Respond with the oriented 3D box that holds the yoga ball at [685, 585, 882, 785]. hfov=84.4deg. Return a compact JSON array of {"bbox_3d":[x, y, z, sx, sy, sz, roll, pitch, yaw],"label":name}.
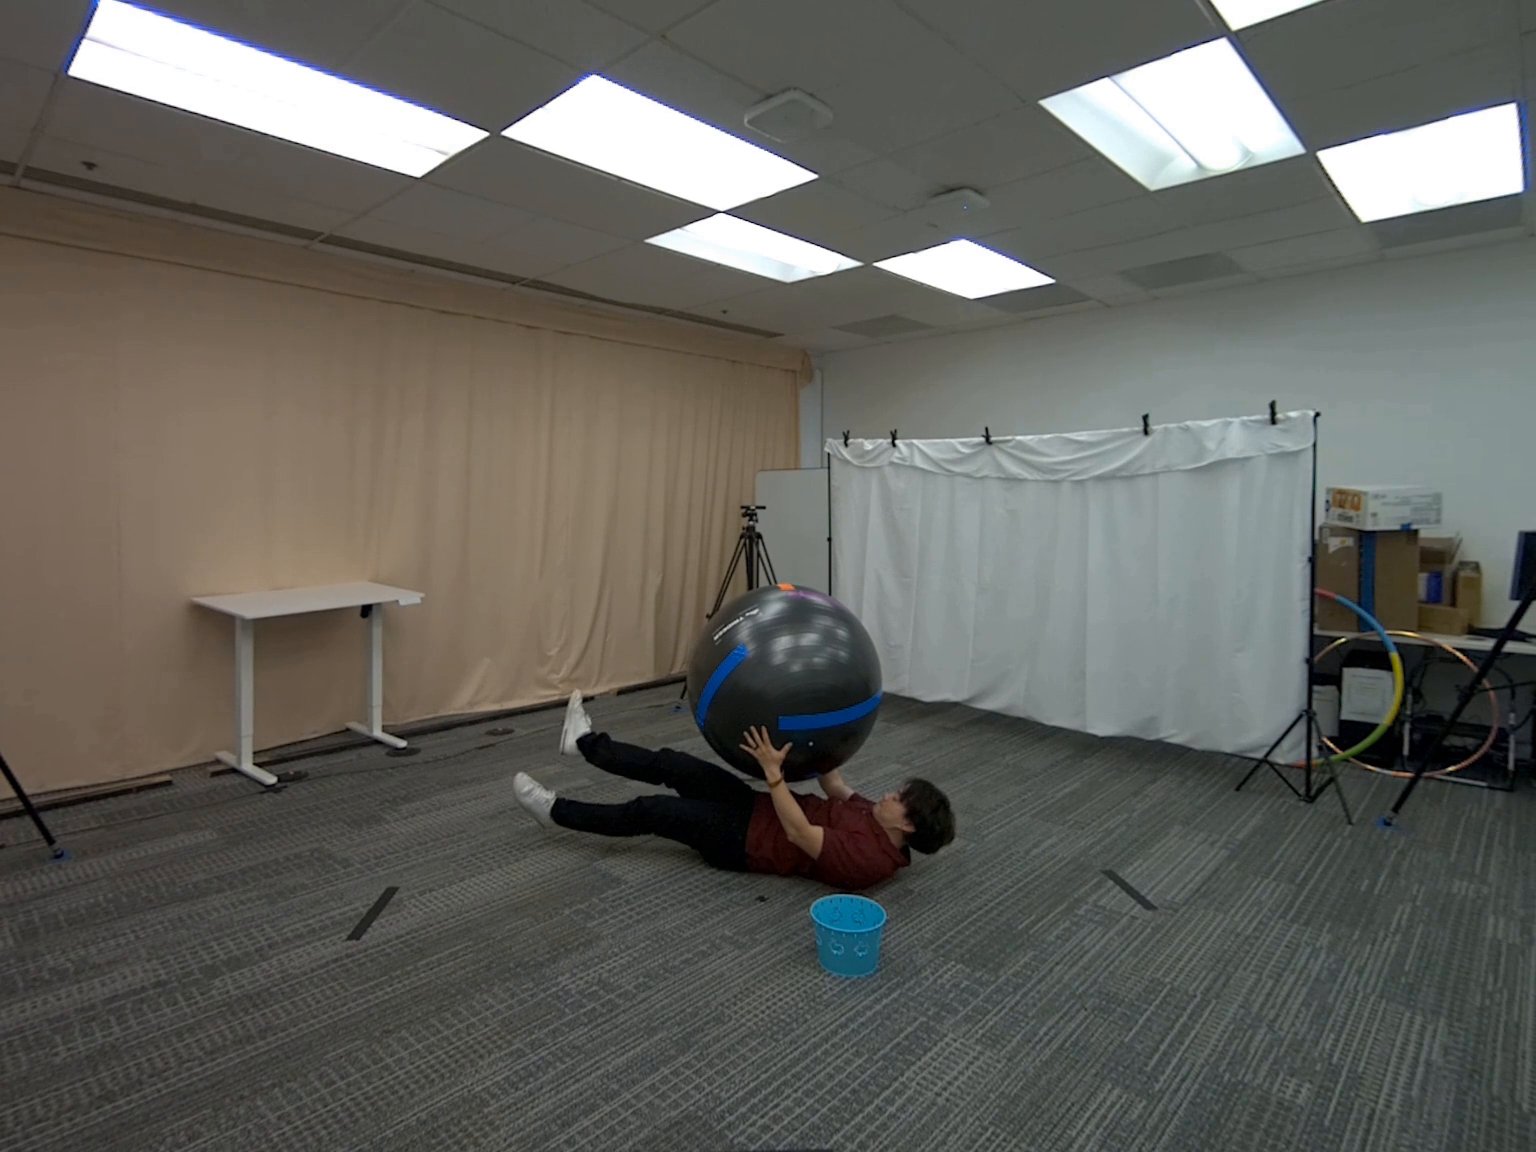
[{"bbox_3d":[0.062,0.414,3.294,0.757,0.756,0.760,0,4,-2],"label":"yoga ball"}]
